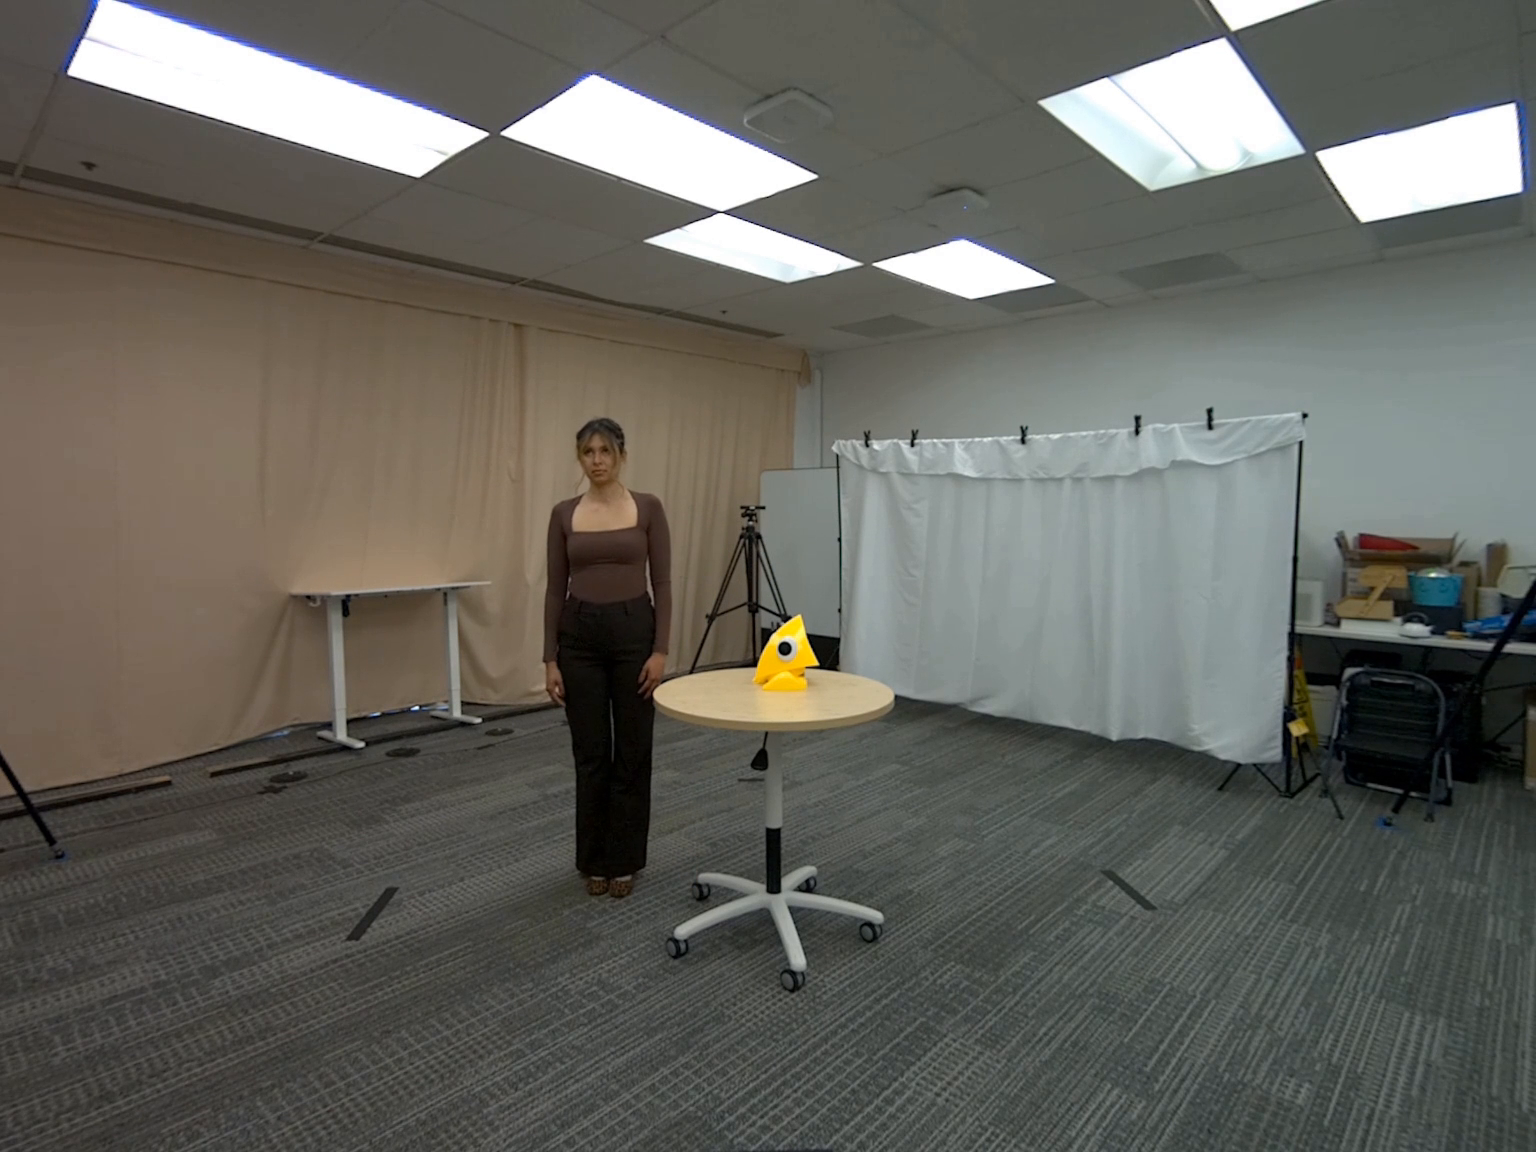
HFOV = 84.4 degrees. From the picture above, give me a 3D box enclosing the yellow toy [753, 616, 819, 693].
[{"bbox_3d":[0.055,0.247,2.792,0.190,0.230,0.208,-1,4,-15],"label":"yellow toy"}]
